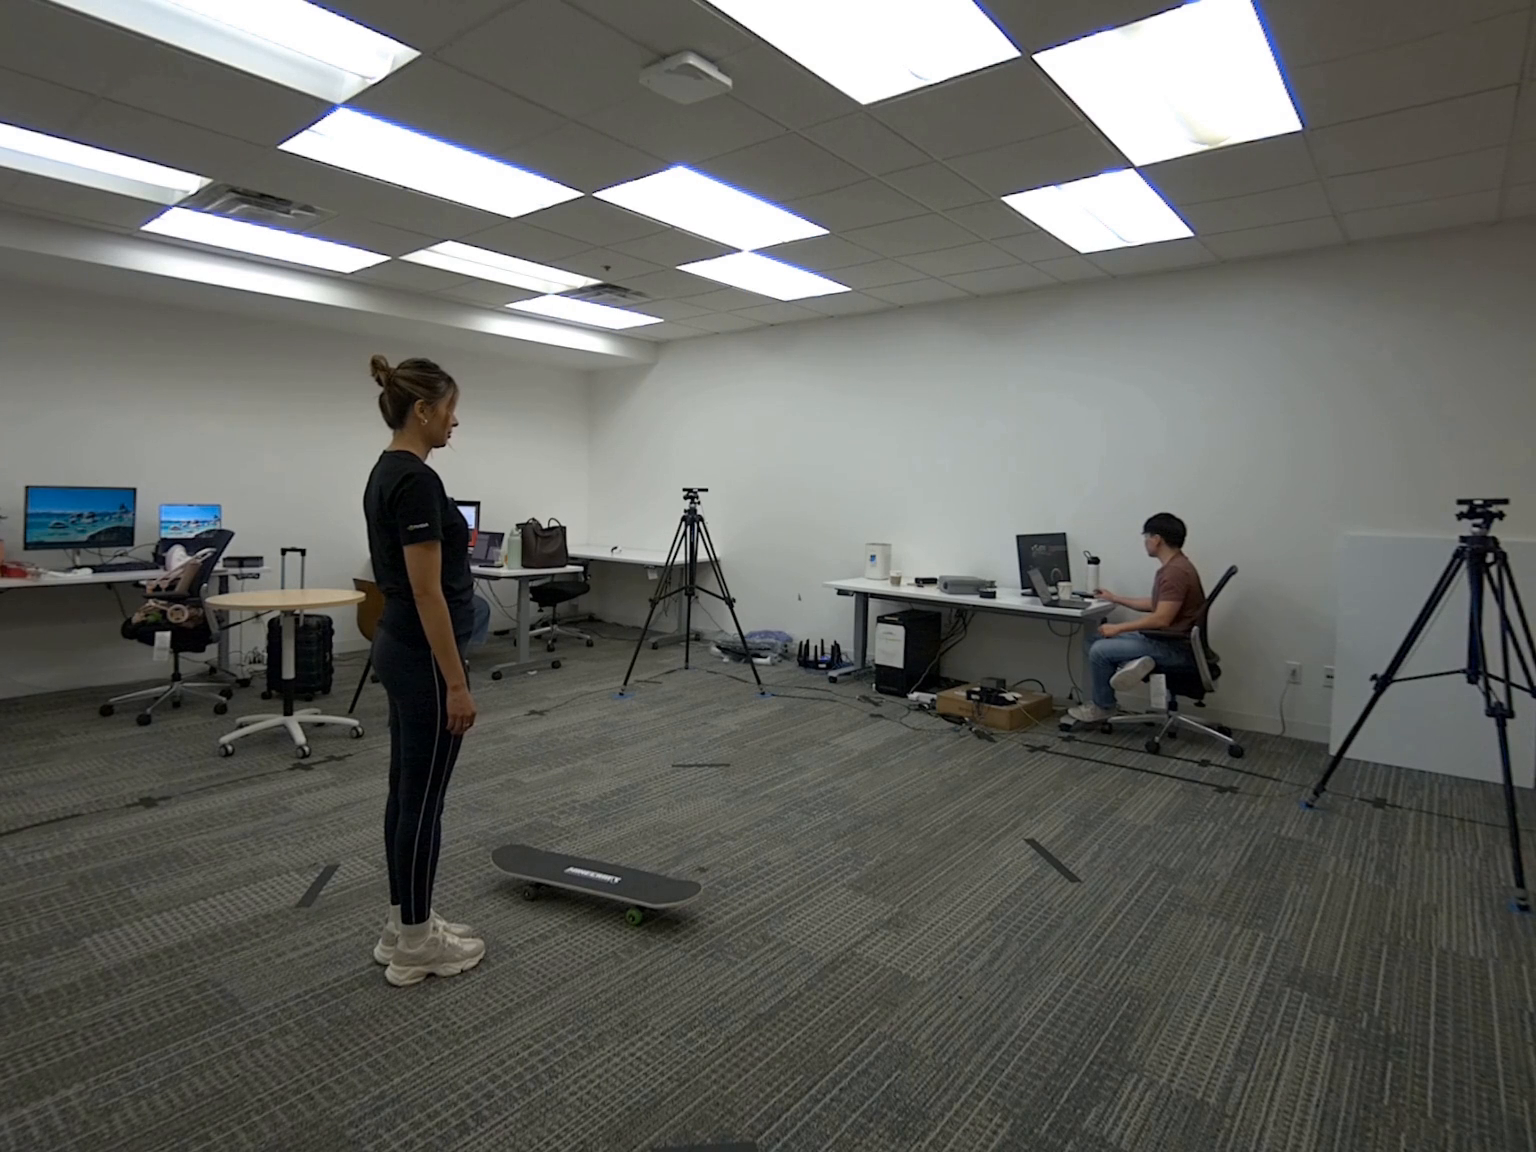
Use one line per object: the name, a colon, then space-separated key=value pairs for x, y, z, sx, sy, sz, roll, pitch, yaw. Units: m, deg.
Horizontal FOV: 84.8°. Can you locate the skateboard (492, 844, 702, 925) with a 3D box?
skateboard: x=-0.600 y=1.030 z=2.847 sx=0.804 sy=0.110 sz=0.190 roll=3 pitch=7 yaw=22
